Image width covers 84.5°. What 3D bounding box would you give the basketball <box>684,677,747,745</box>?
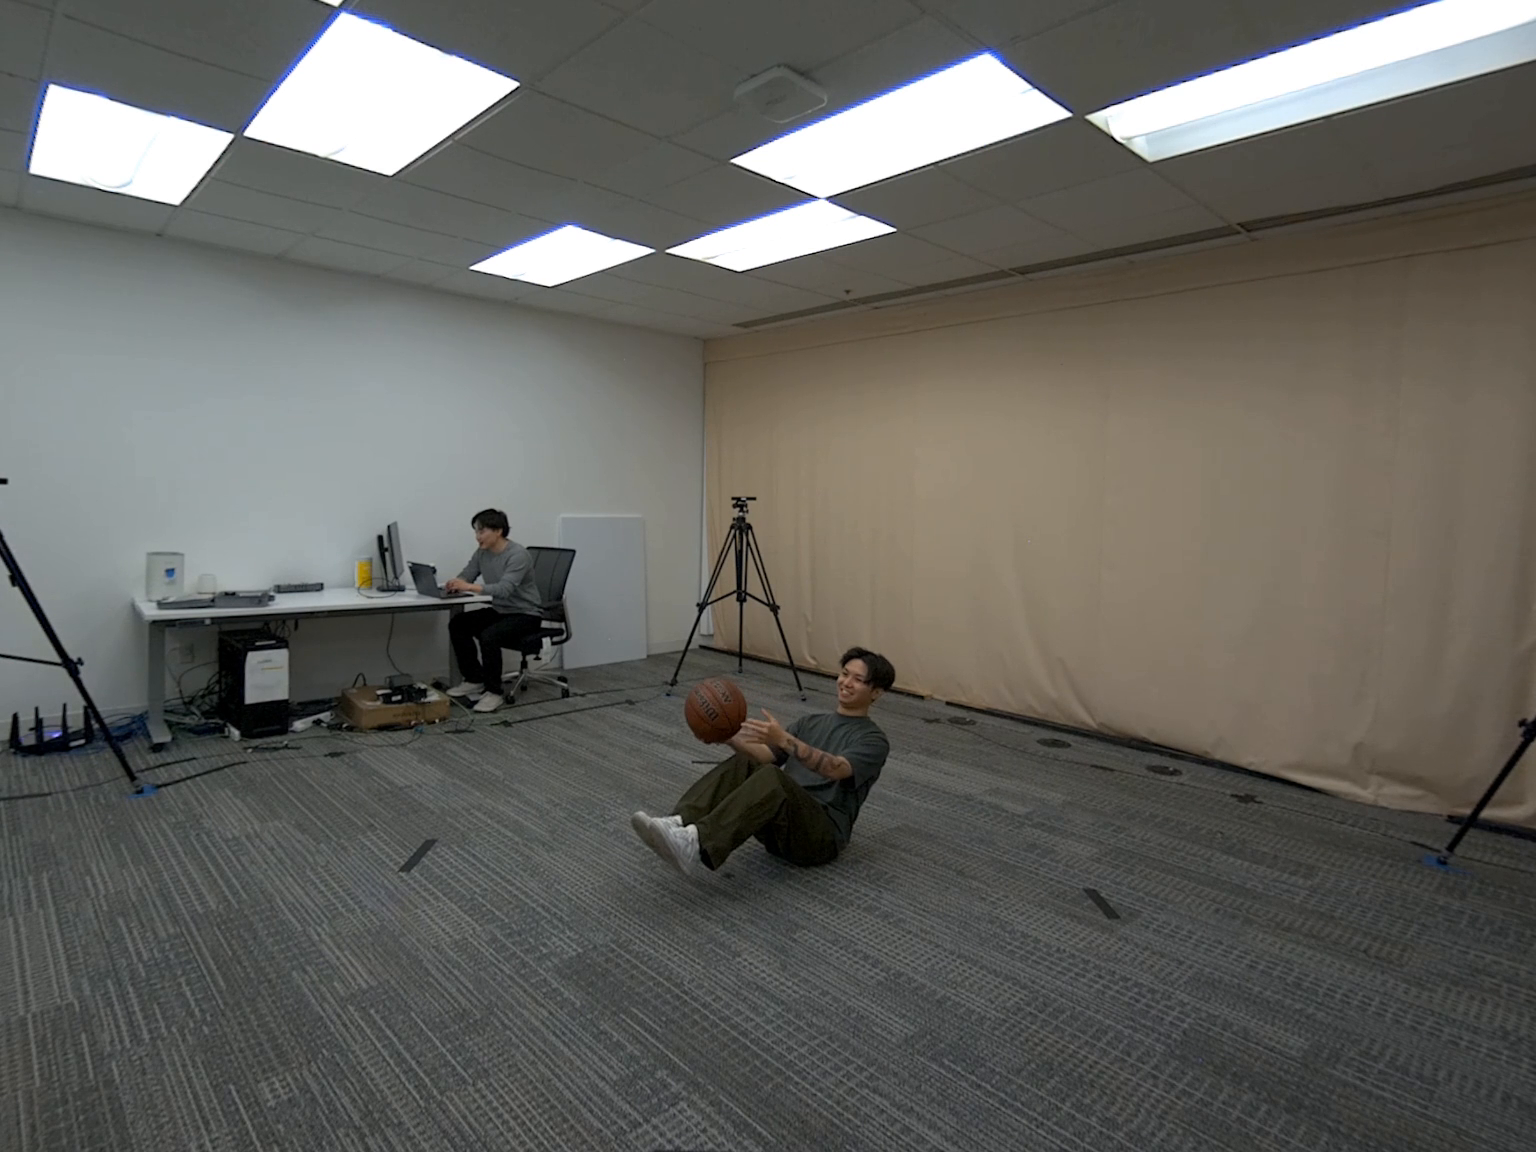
[{"bbox_3d":[-0.209,0.525,3.214,0.236,0.235,0.237,1,4,-1],"label":"basketball"}]
